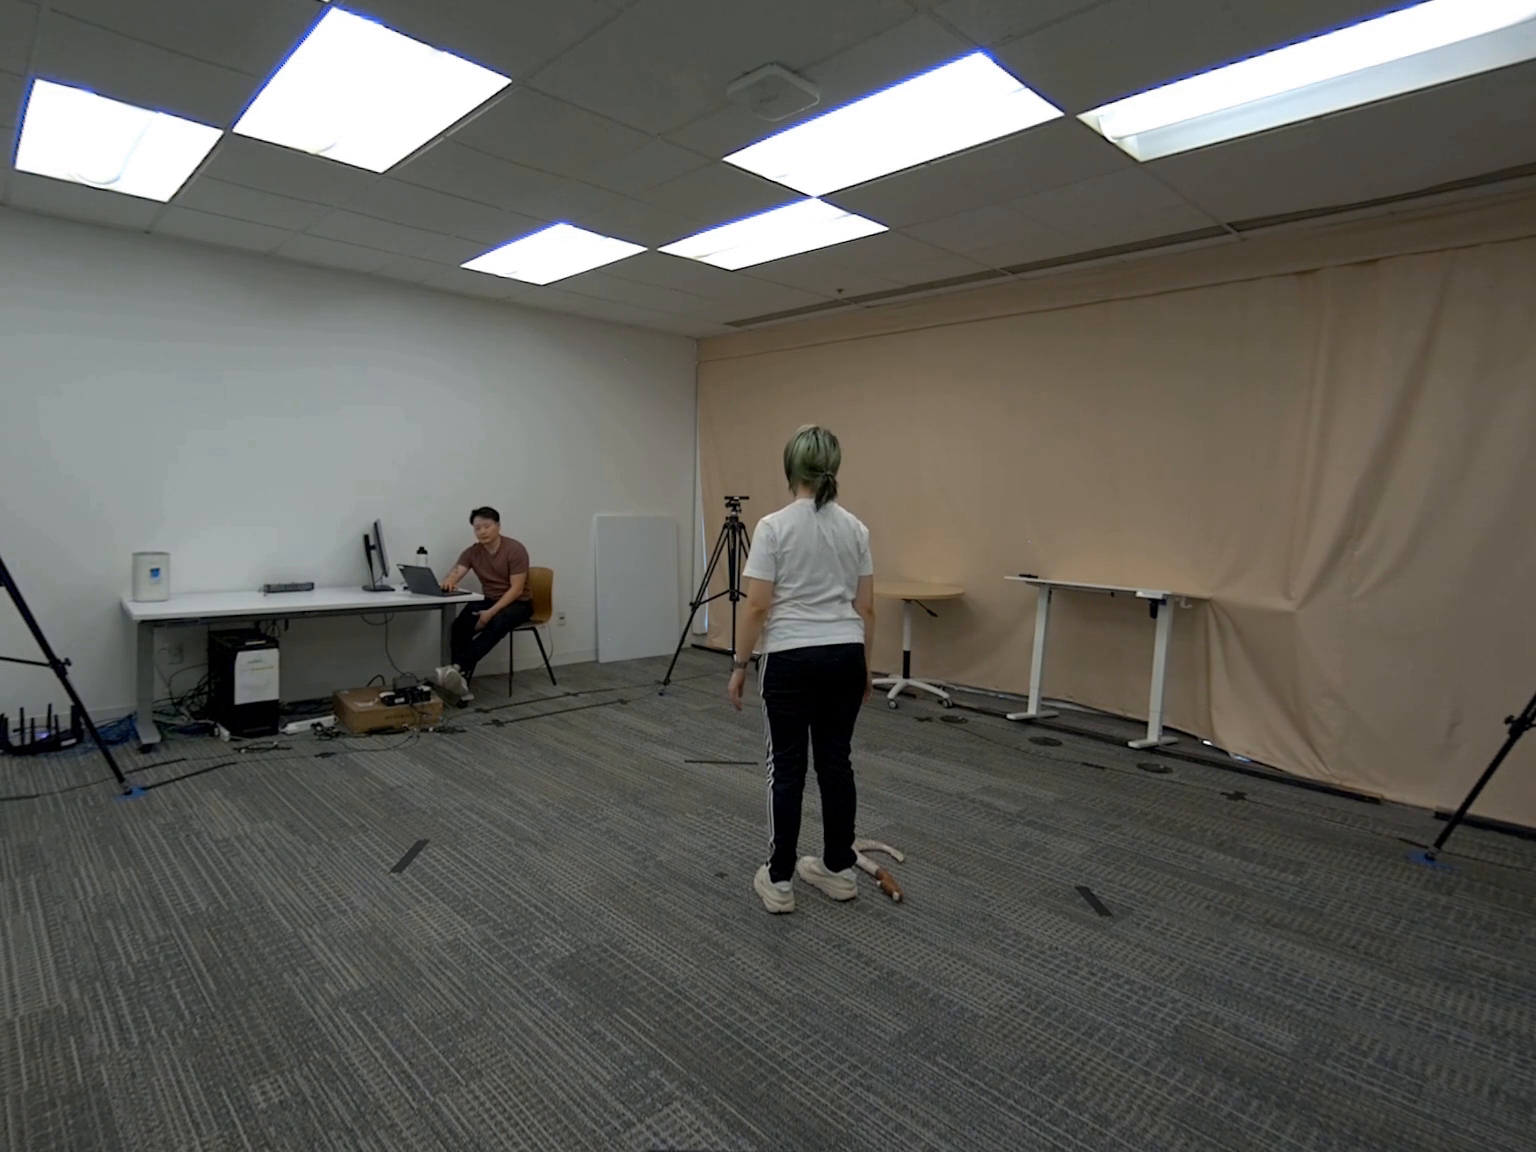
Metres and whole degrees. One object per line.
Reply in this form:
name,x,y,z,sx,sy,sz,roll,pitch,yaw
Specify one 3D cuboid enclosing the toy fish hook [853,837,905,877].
toy fish hook,0.436,1.090,3.156,0.222,0.048,0.513,-1,6,-14
